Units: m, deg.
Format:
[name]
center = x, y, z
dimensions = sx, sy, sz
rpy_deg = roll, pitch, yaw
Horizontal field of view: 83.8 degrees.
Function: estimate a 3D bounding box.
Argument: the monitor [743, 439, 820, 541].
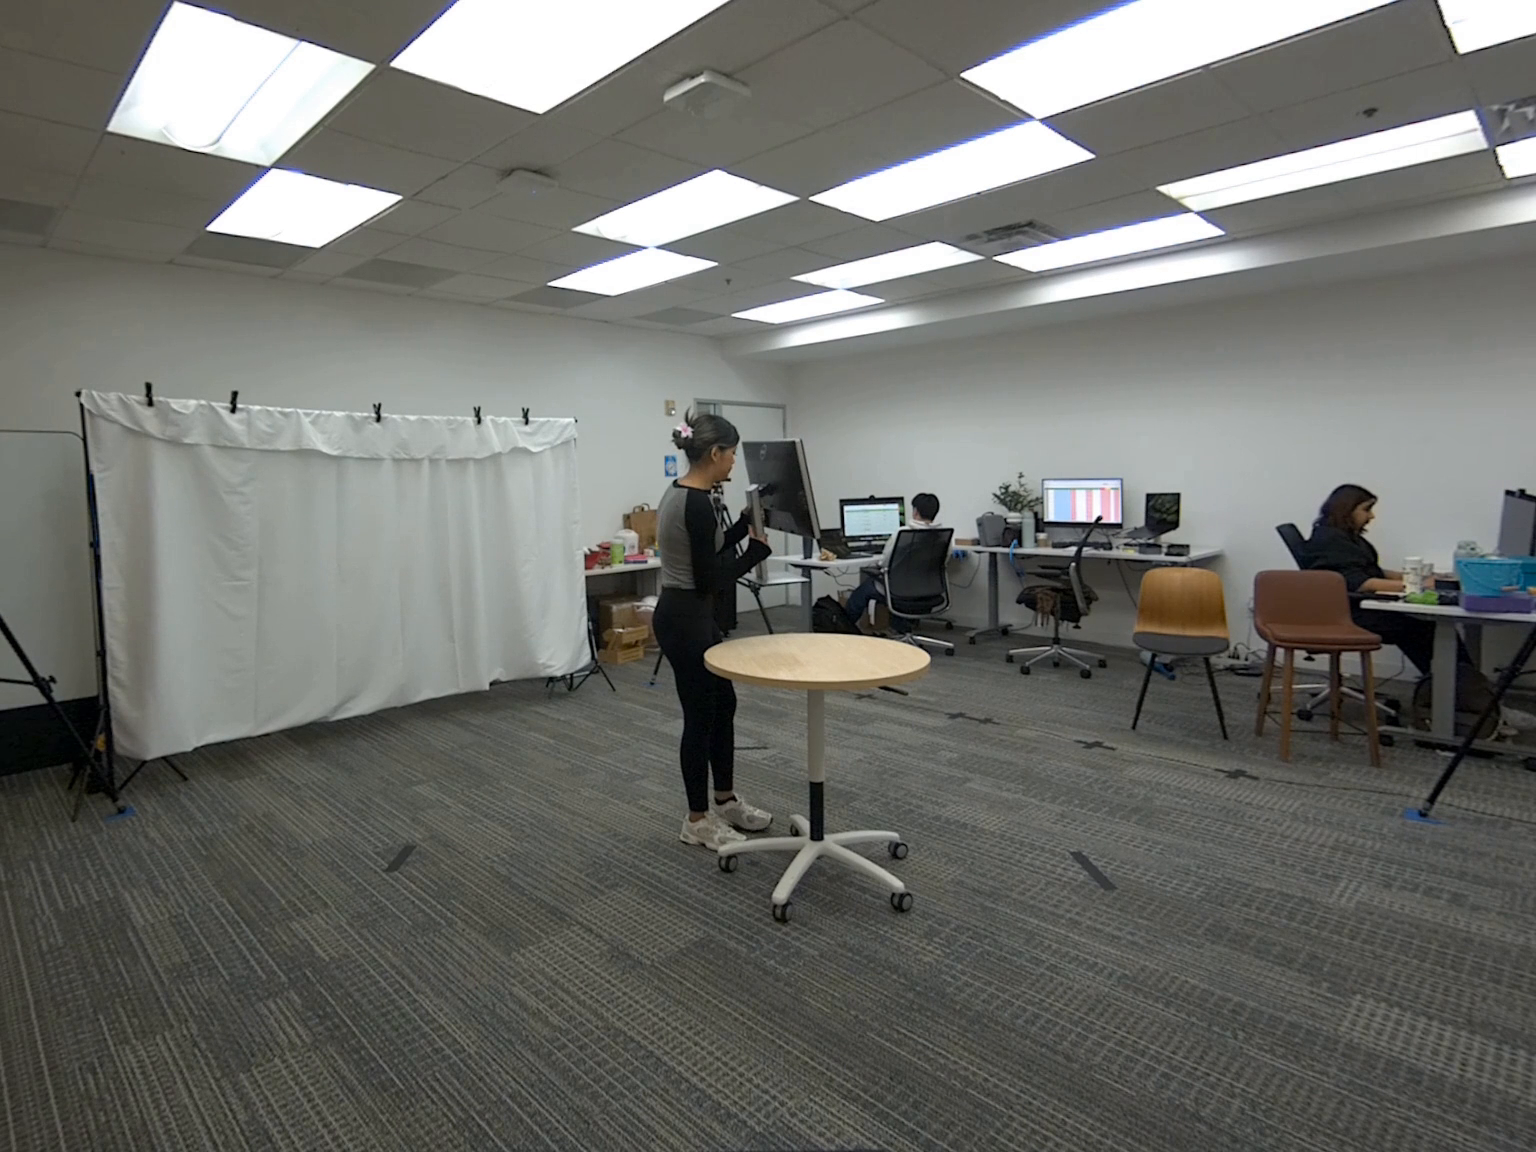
[monitor]
center = 0.012, -0.251, 3.270
dimensions = 0.183, 0.519, 0.552
rpy_deg = -3, 7, -23
